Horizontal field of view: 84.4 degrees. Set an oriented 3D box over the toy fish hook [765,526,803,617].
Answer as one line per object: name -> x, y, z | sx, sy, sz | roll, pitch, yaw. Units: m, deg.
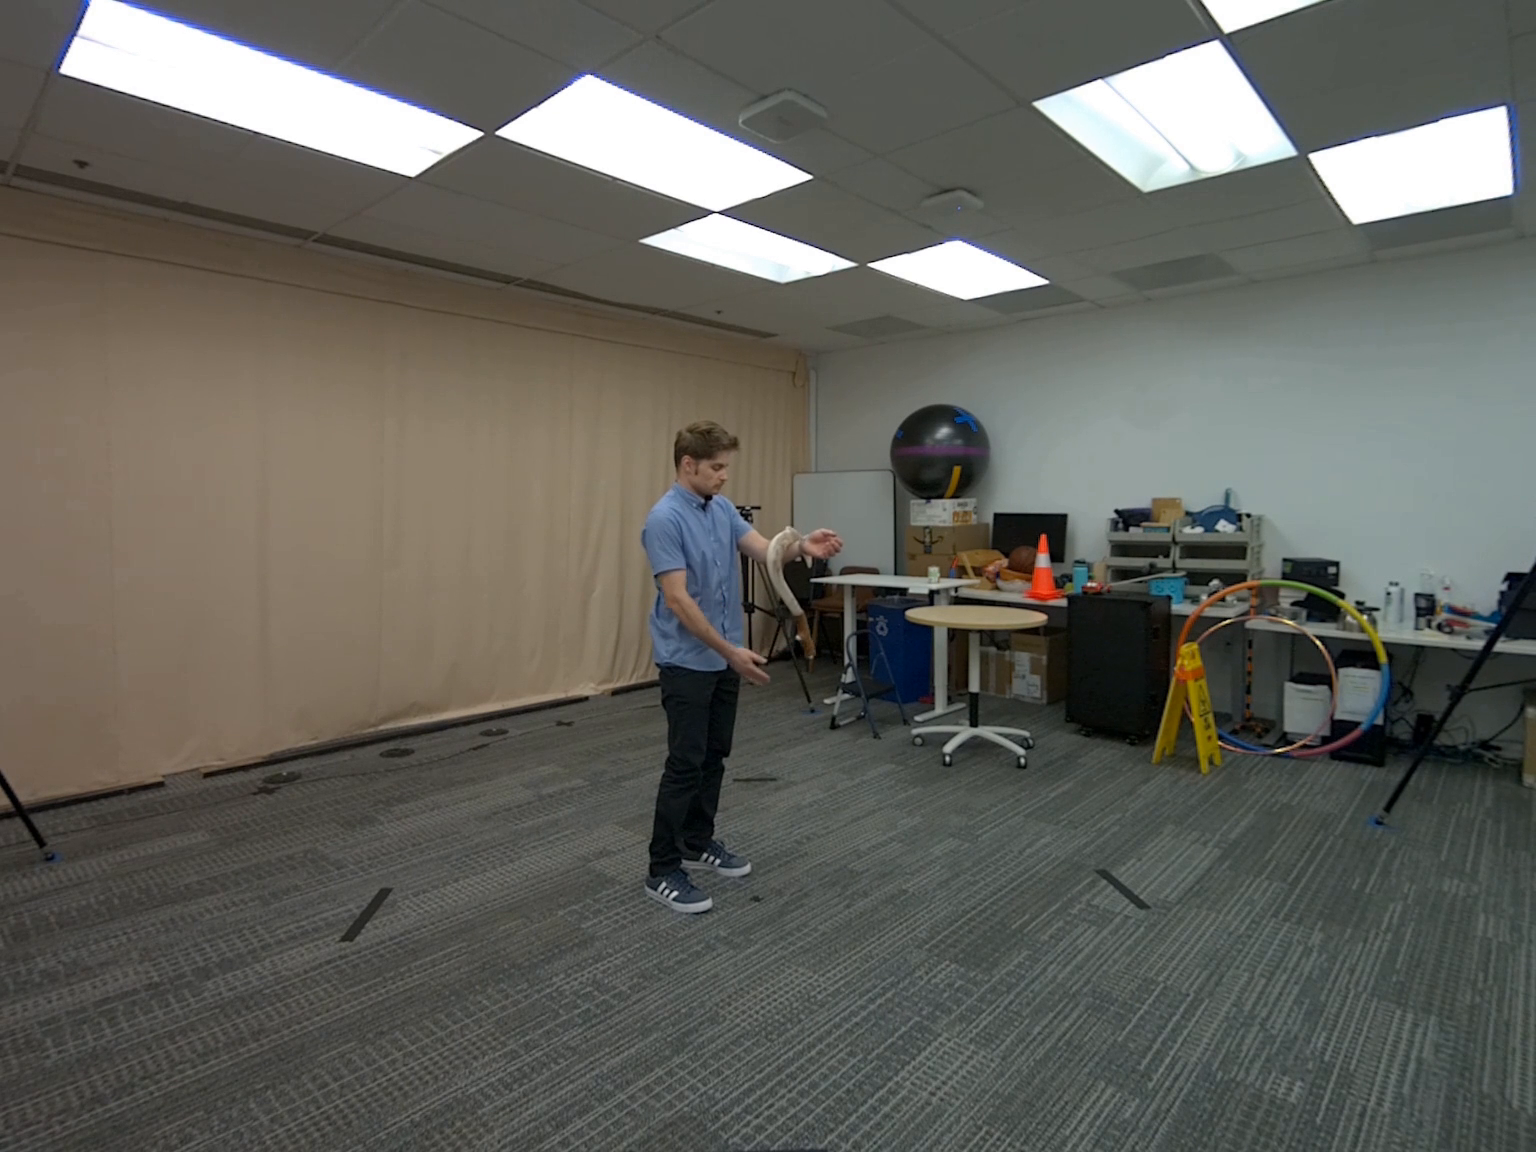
toy fish hook -> 0.128, 0.063, 3.053 | 0.221, 0.496, 0.050 | -34, 27, -31
